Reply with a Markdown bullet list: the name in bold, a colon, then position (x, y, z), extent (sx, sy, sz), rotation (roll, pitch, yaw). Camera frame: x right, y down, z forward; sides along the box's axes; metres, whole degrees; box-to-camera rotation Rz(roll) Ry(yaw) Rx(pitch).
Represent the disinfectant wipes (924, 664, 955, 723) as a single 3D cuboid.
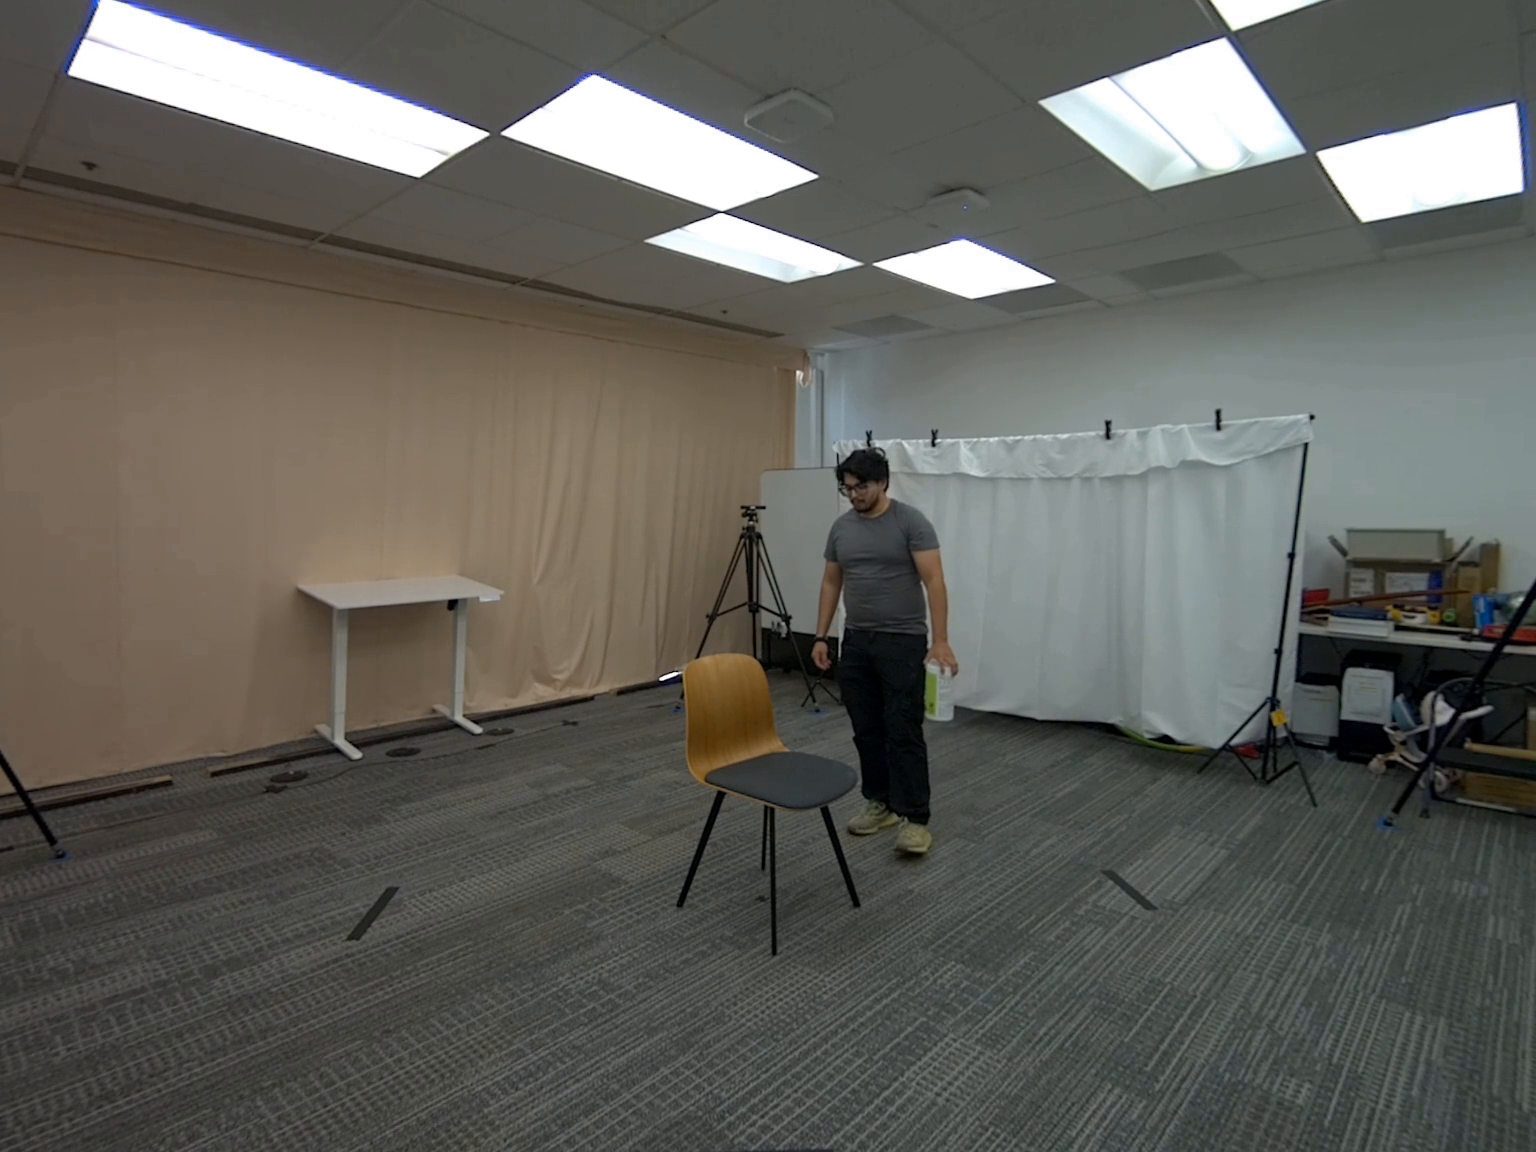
- **disinfectant wipes**: position (0.671, 0.449, 3.299), extent (0.118, 0.216, 0.118), rotation (-1, 9, -2)
